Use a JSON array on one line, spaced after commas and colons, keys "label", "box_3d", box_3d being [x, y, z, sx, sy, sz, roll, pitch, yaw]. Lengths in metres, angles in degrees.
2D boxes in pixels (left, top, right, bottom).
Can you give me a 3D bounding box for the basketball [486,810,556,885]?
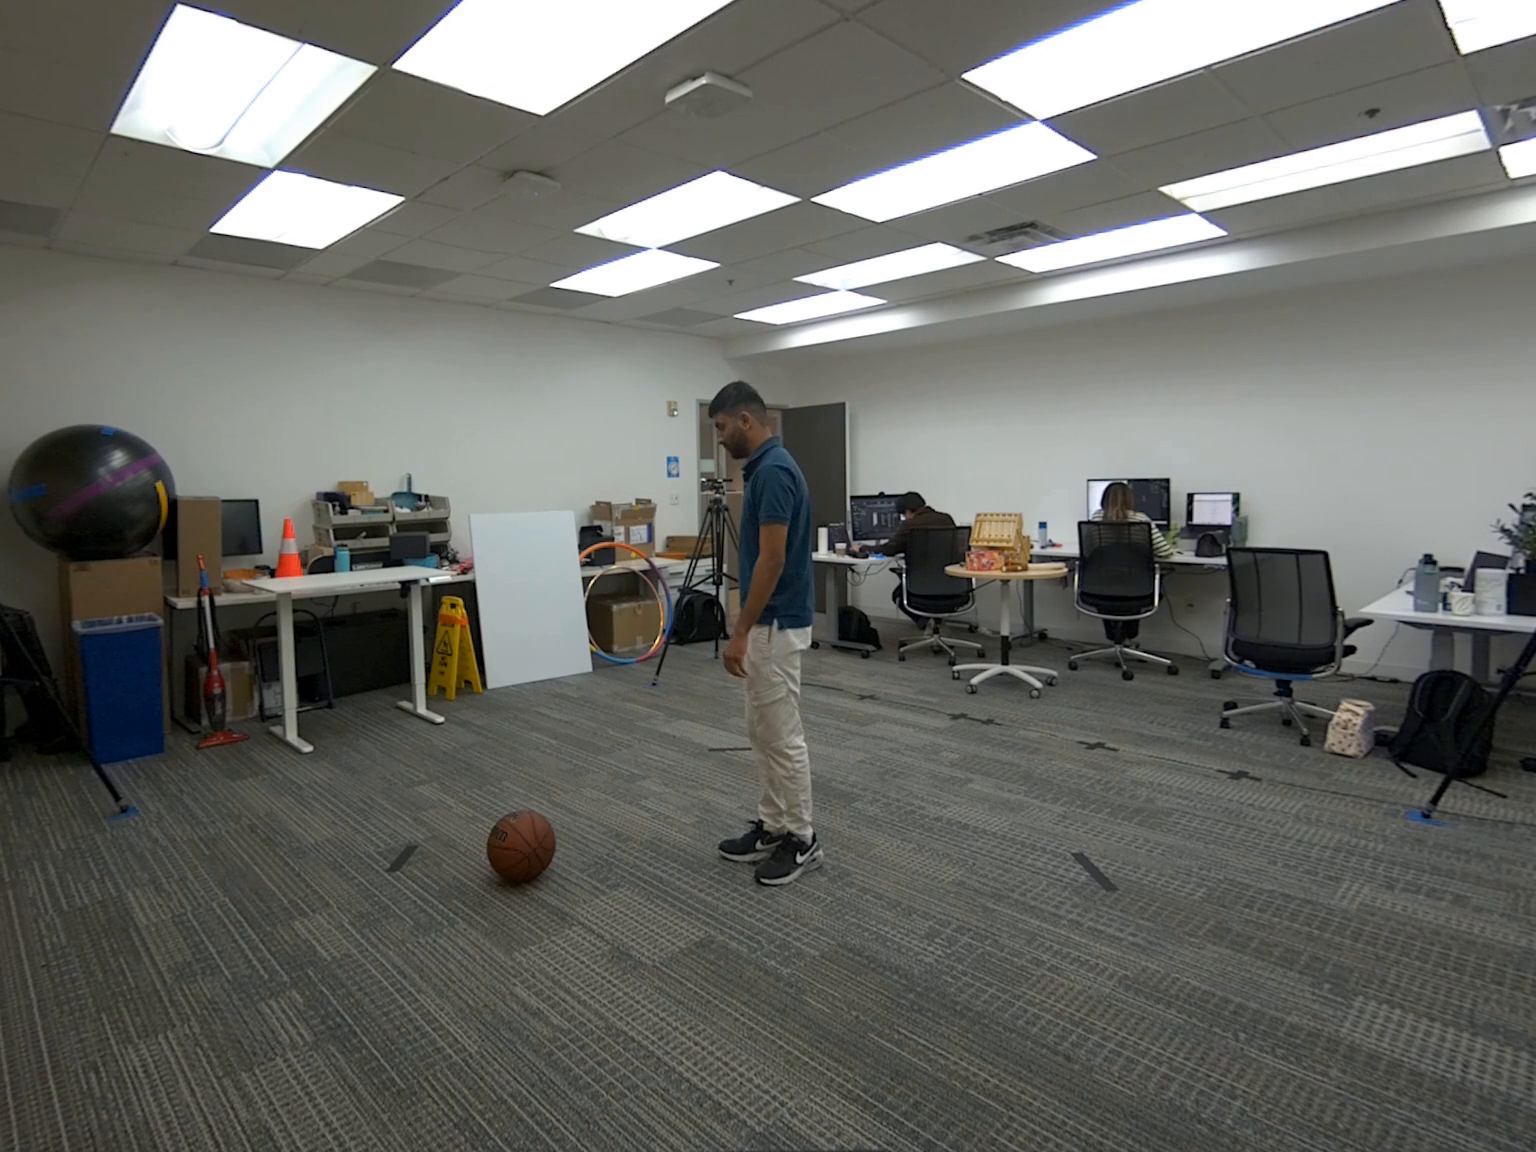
[{"label": "basketball", "box_3d": [-0.870, 0.951, 3.015, 0.236, 0.235, 0.237, -1, 5, -2]}]
